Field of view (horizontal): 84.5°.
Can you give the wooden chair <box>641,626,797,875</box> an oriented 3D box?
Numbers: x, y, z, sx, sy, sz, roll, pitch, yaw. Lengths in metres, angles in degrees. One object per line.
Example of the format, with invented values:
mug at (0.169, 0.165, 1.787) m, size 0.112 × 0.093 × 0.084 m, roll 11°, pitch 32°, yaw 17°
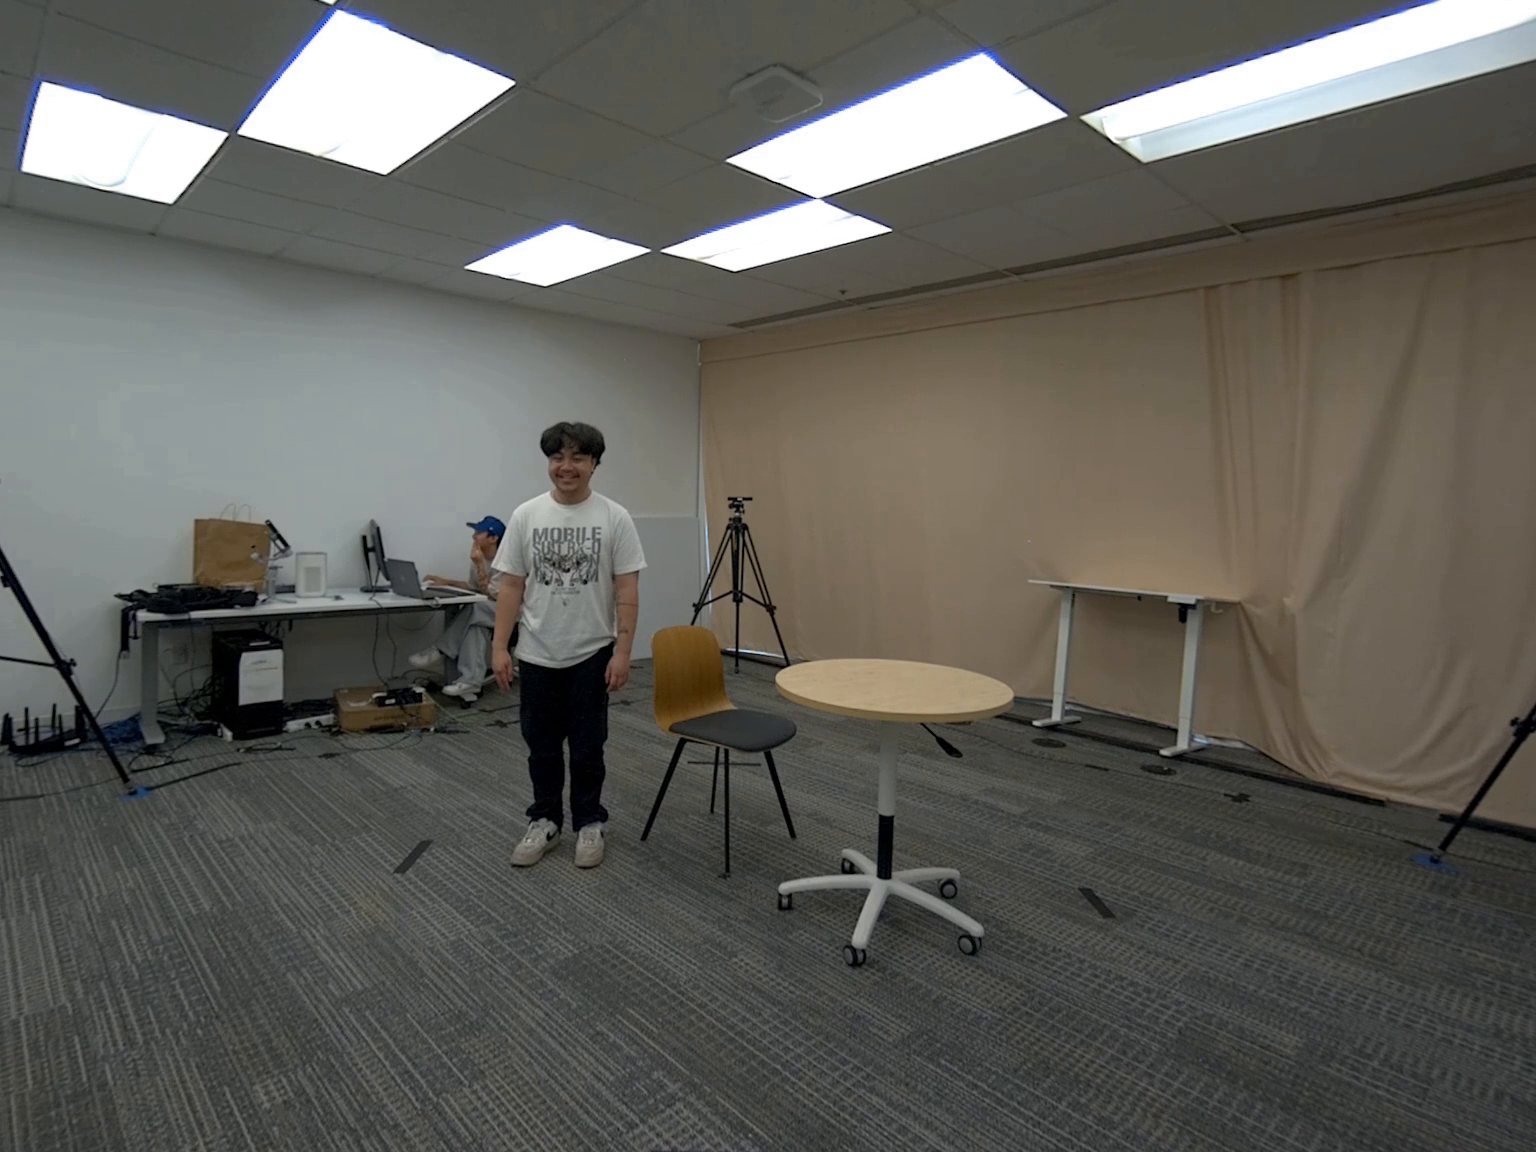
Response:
wooden chair at (-0.191, 0.652, 3.407) m, size 0.535 × 0.877 × 0.467 m, roll -1°, pitch 0°, yaw 38°
